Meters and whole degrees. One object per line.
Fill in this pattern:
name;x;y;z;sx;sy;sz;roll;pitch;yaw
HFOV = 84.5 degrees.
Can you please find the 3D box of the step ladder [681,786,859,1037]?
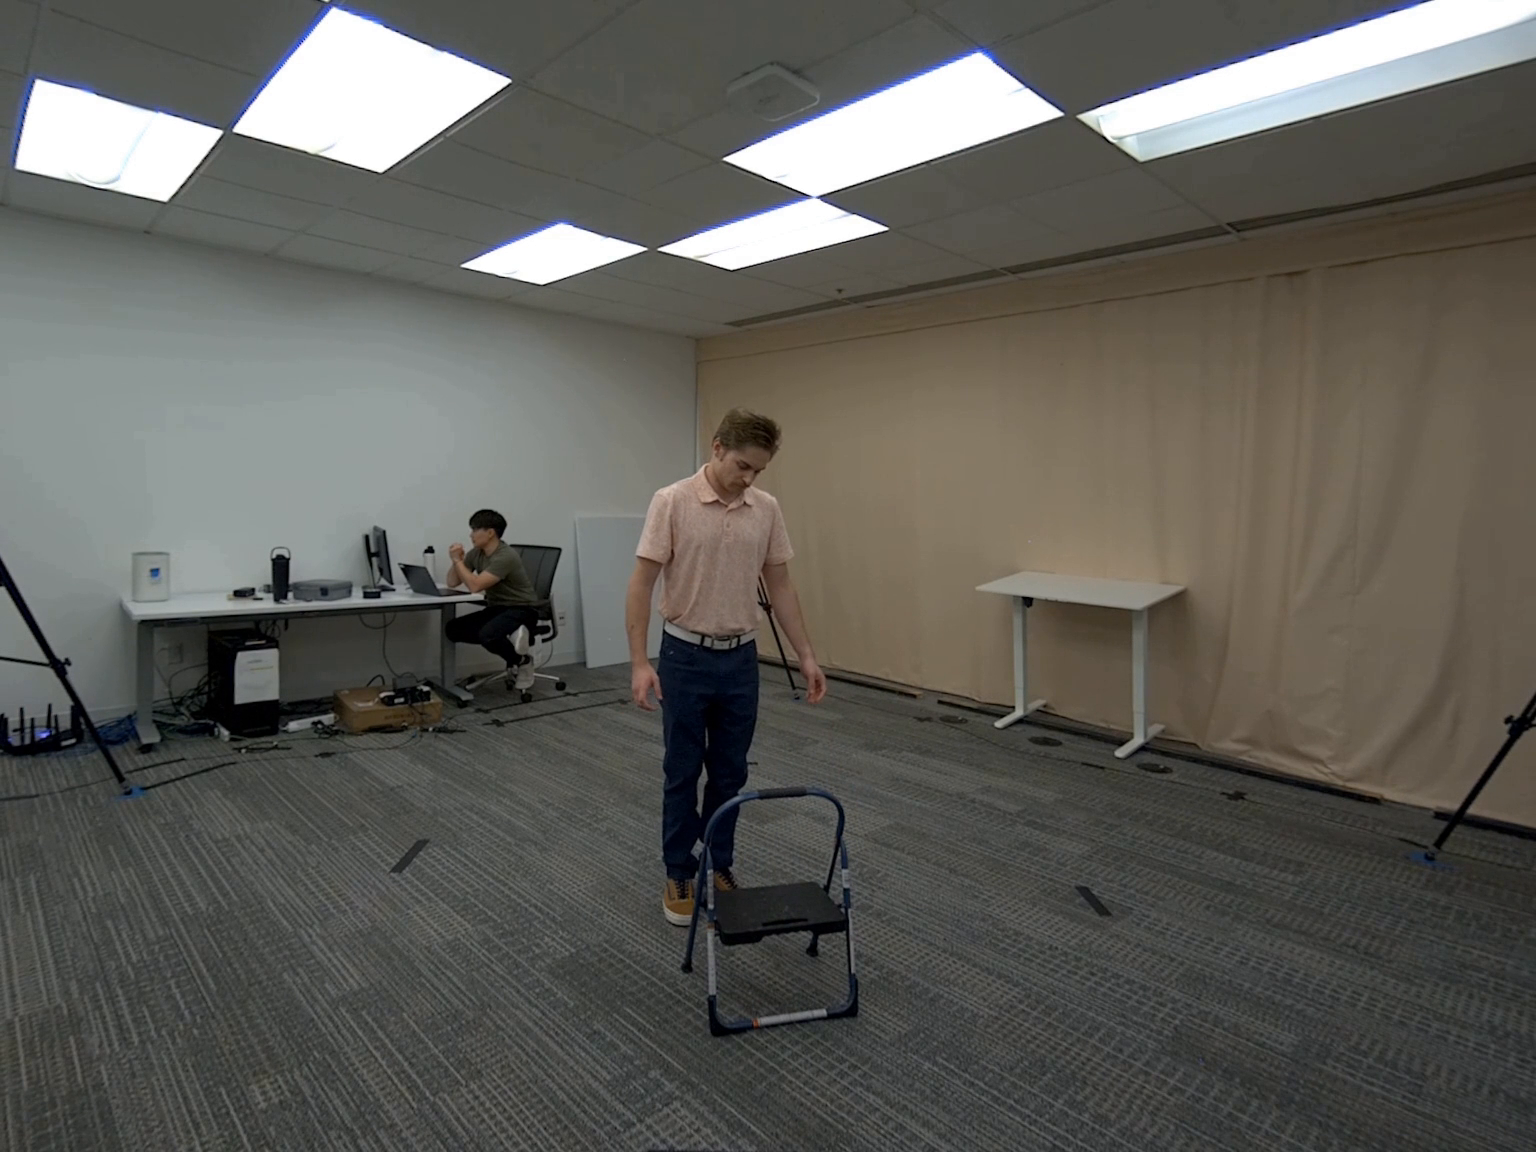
step ladder;-0.001;0.873;2.365;0.425;0.604;0.355;0;4;-17
